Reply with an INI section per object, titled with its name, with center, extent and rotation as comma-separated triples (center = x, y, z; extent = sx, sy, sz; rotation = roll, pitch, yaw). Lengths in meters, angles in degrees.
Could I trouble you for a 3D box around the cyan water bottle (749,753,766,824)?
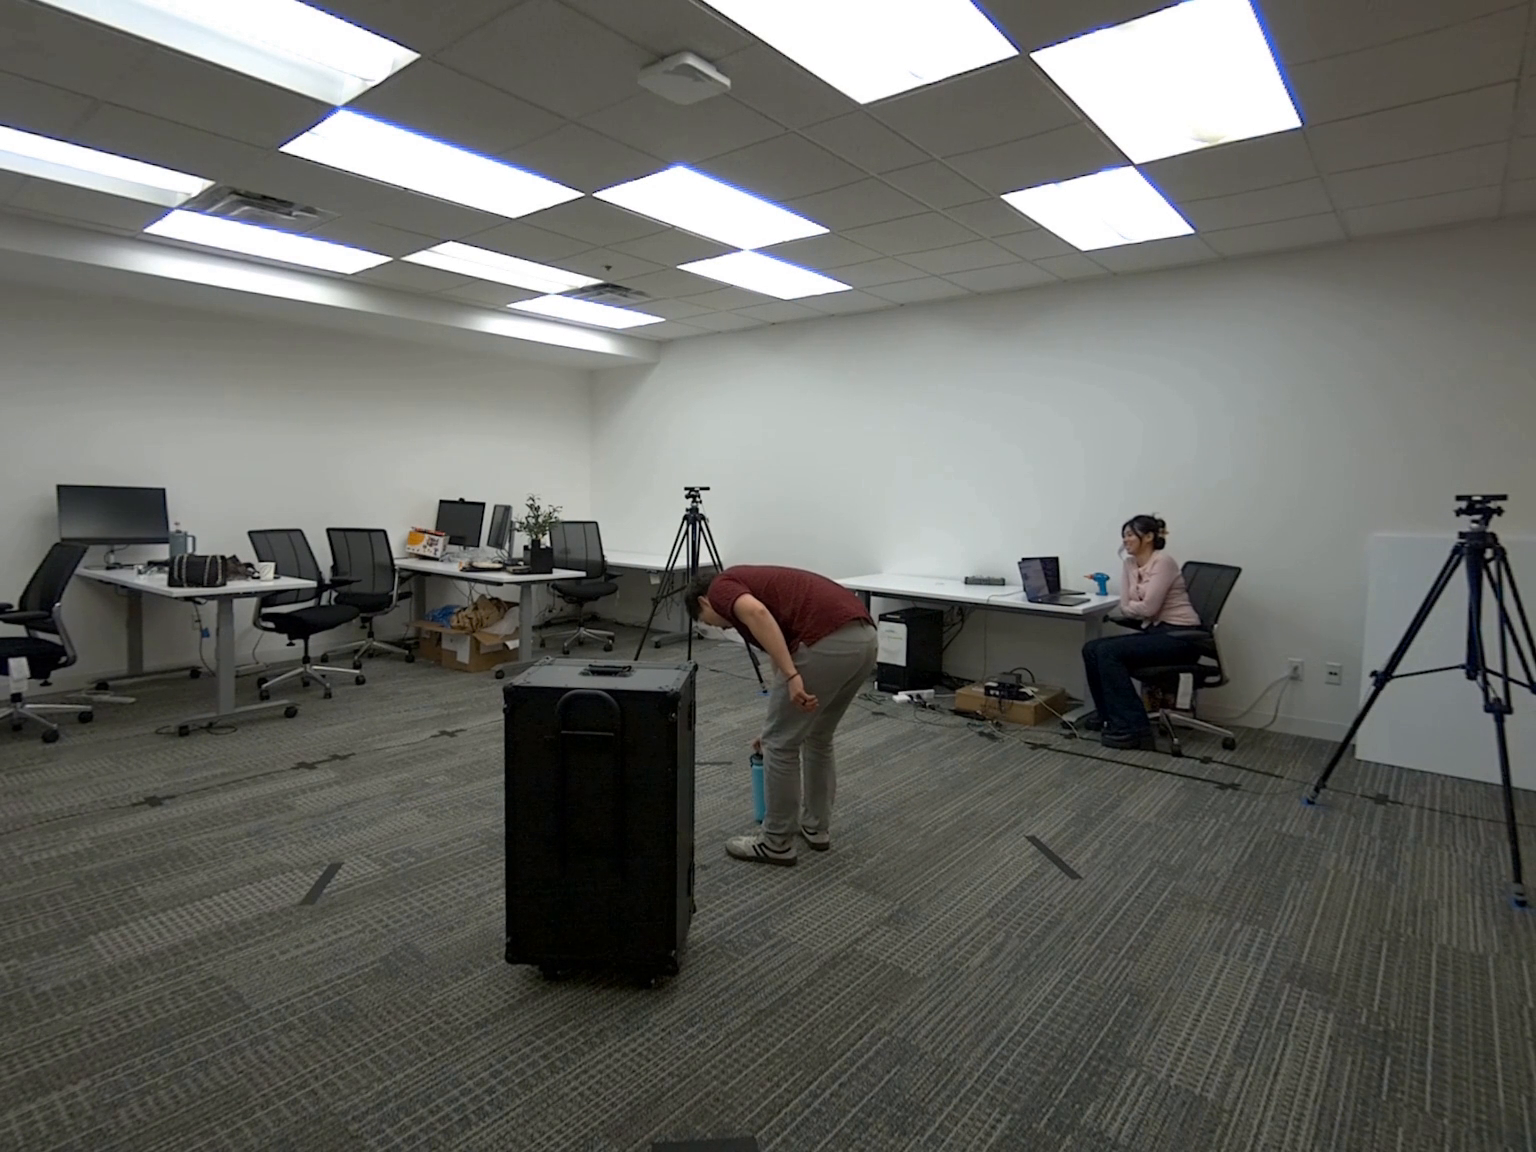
[cyan water bottle]
center = -0.034, 0.865, 3.562
extent = 0.092, 0.283, 0.092
rotation = -4, 2, -2
